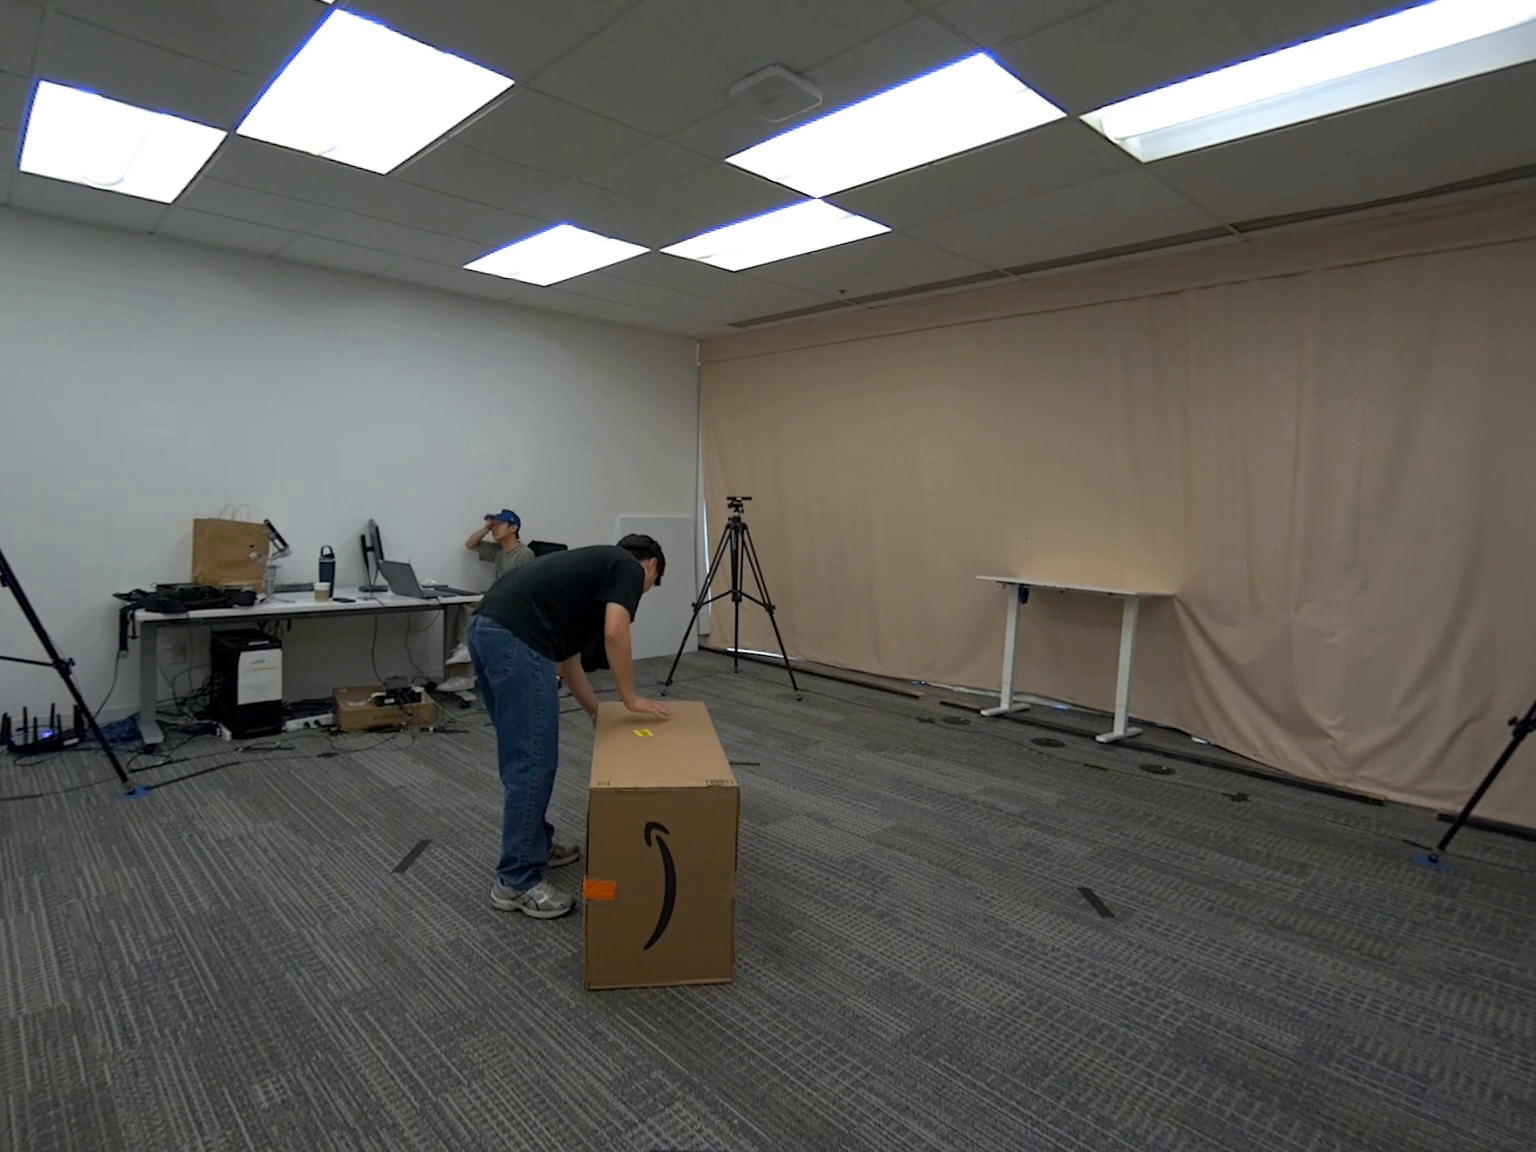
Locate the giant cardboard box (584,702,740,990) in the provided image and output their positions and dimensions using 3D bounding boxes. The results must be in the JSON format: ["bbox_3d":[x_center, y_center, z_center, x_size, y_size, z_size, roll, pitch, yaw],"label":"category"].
[{"bbox_3d":[-0.391,0.833,2.878,0.443,0.582,1.037,0,4,-10],"label":"giant cardboard box"}]
